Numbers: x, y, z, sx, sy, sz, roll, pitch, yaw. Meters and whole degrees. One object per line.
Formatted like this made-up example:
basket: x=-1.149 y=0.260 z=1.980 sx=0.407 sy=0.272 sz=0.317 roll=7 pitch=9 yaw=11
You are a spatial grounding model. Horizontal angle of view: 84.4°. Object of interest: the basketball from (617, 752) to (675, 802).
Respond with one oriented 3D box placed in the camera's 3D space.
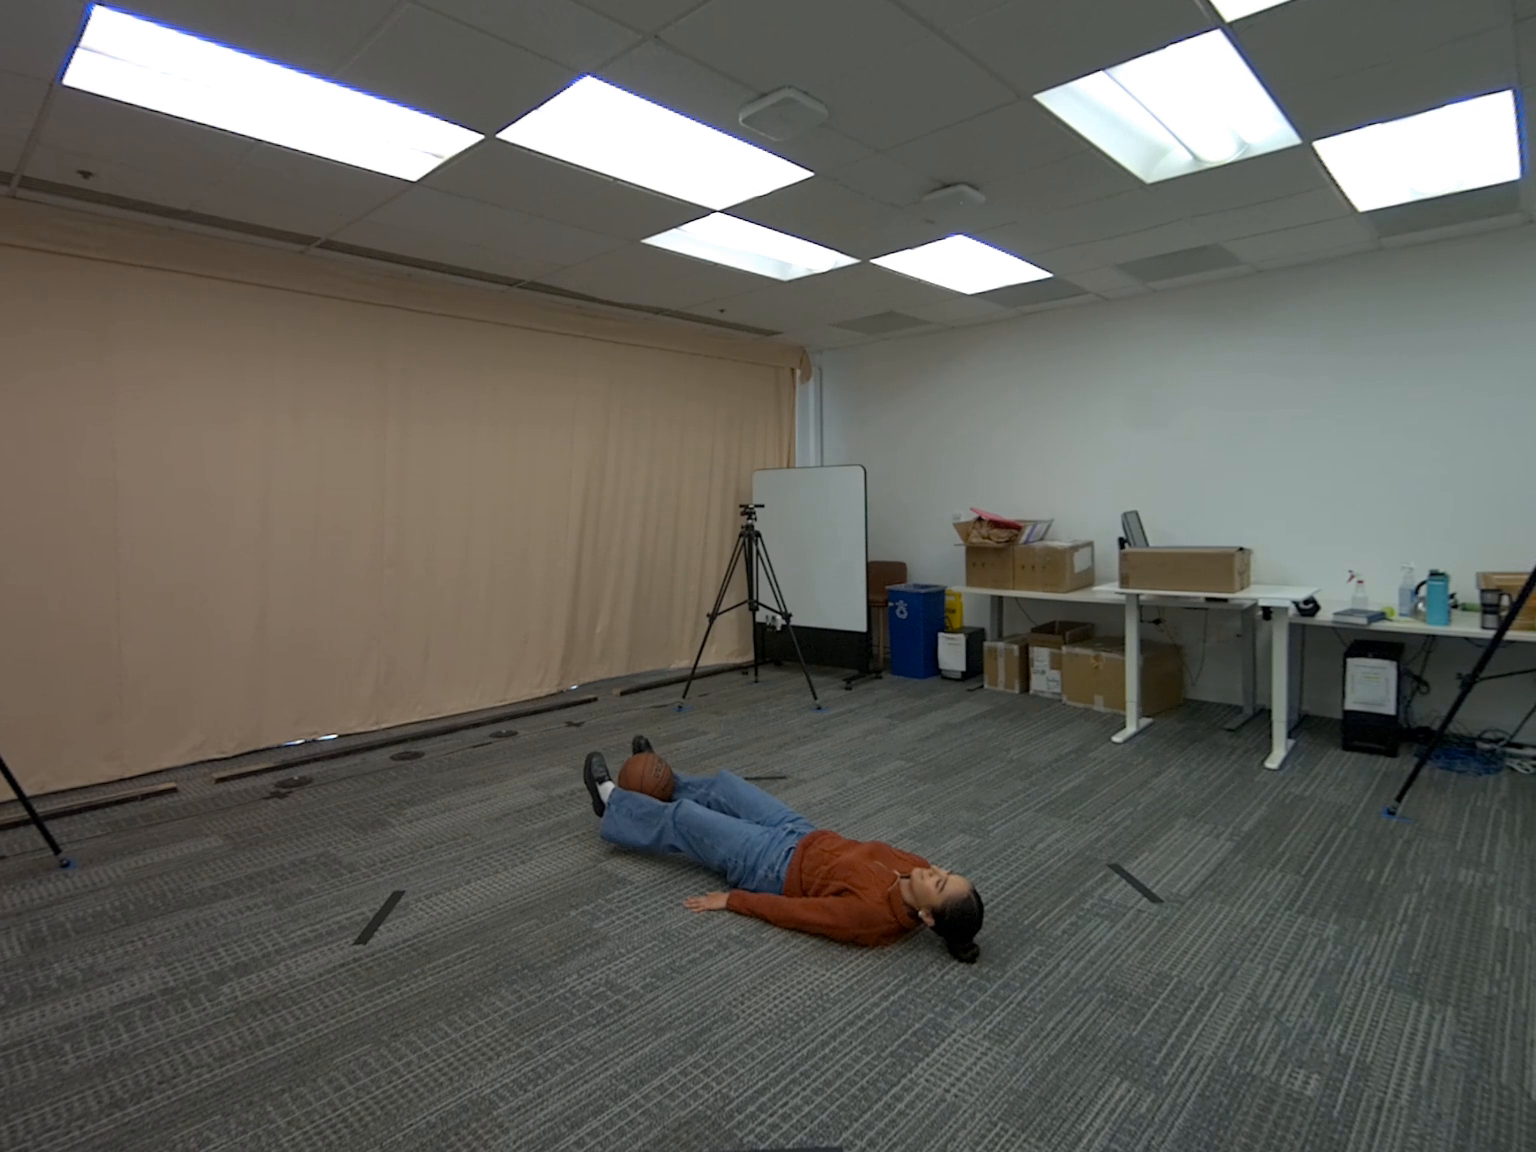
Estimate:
basketball: x=-0.511 y=0.862 z=3.531 sx=0.236 sy=0.235 sz=0.237 roll=-1 pitch=4 yaw=-2
